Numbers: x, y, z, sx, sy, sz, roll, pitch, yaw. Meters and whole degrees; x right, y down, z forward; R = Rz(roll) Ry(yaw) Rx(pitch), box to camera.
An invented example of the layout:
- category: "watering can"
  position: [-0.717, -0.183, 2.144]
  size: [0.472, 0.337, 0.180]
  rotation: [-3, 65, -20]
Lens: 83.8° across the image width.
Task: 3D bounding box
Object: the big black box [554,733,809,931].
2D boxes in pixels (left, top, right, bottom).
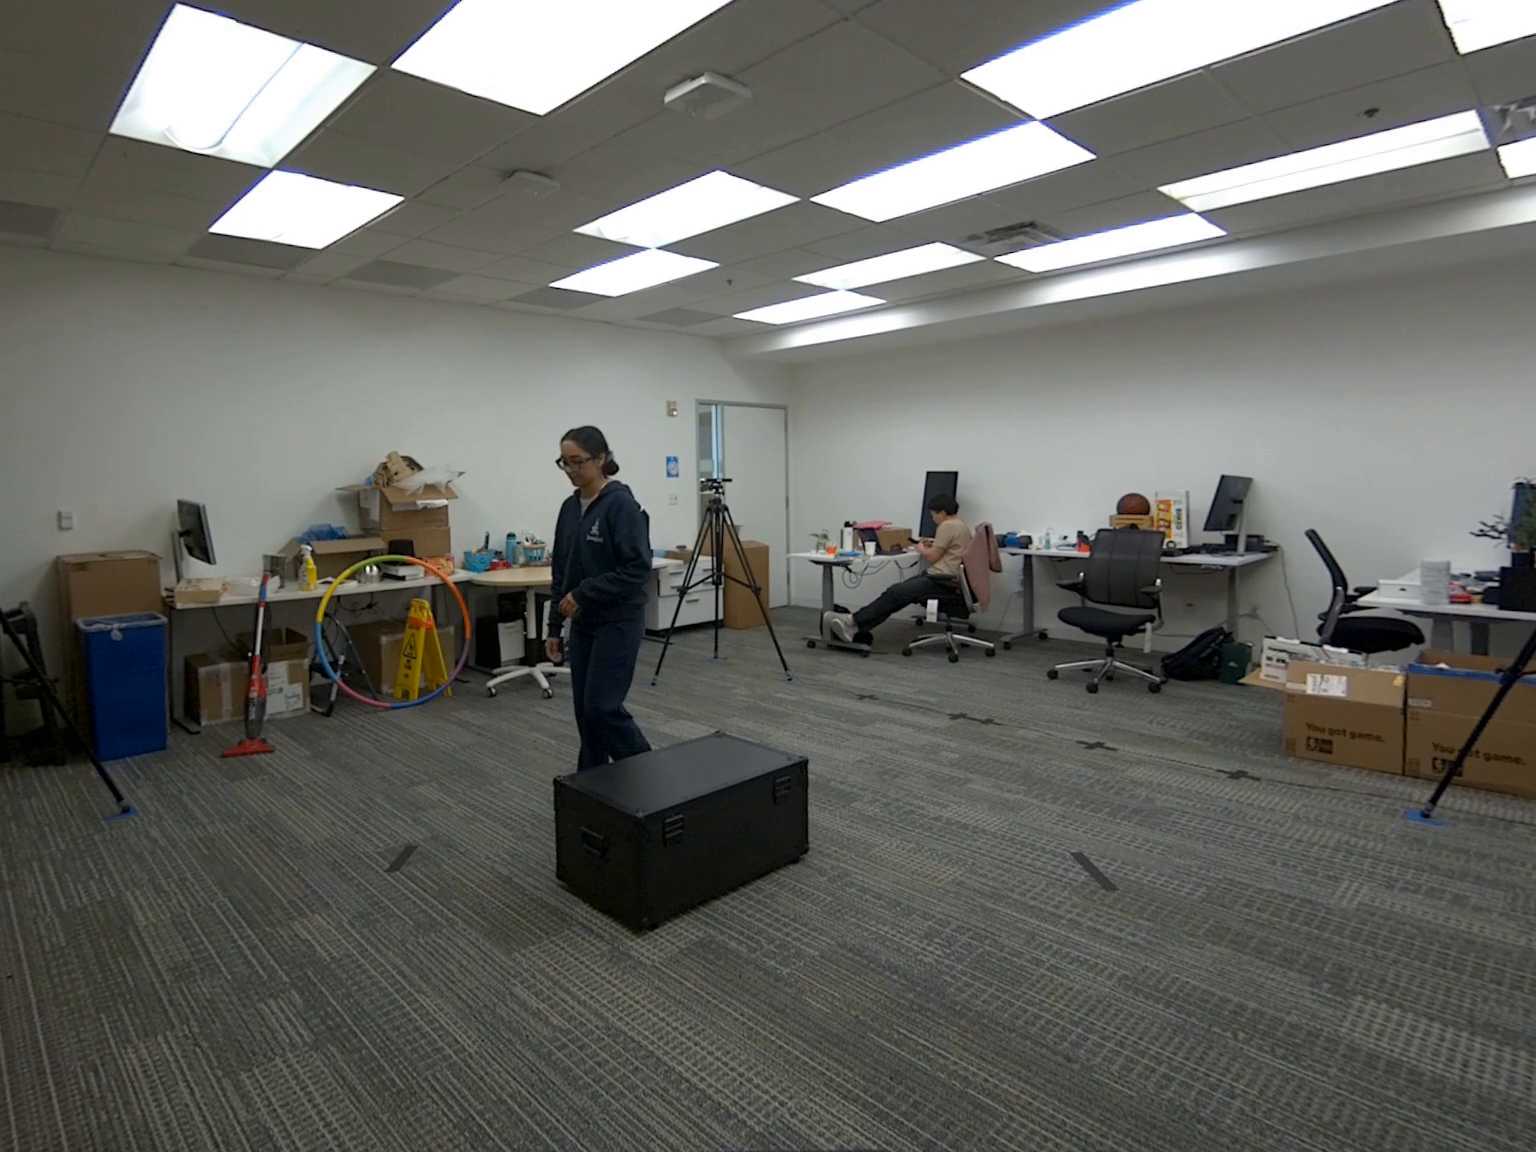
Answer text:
- category: "big black box"
  position: [-0.267, 0.864, 3.054]
  size: [0.839, 0.394, 0.537]
  rotation: [-8, 9, -44]
